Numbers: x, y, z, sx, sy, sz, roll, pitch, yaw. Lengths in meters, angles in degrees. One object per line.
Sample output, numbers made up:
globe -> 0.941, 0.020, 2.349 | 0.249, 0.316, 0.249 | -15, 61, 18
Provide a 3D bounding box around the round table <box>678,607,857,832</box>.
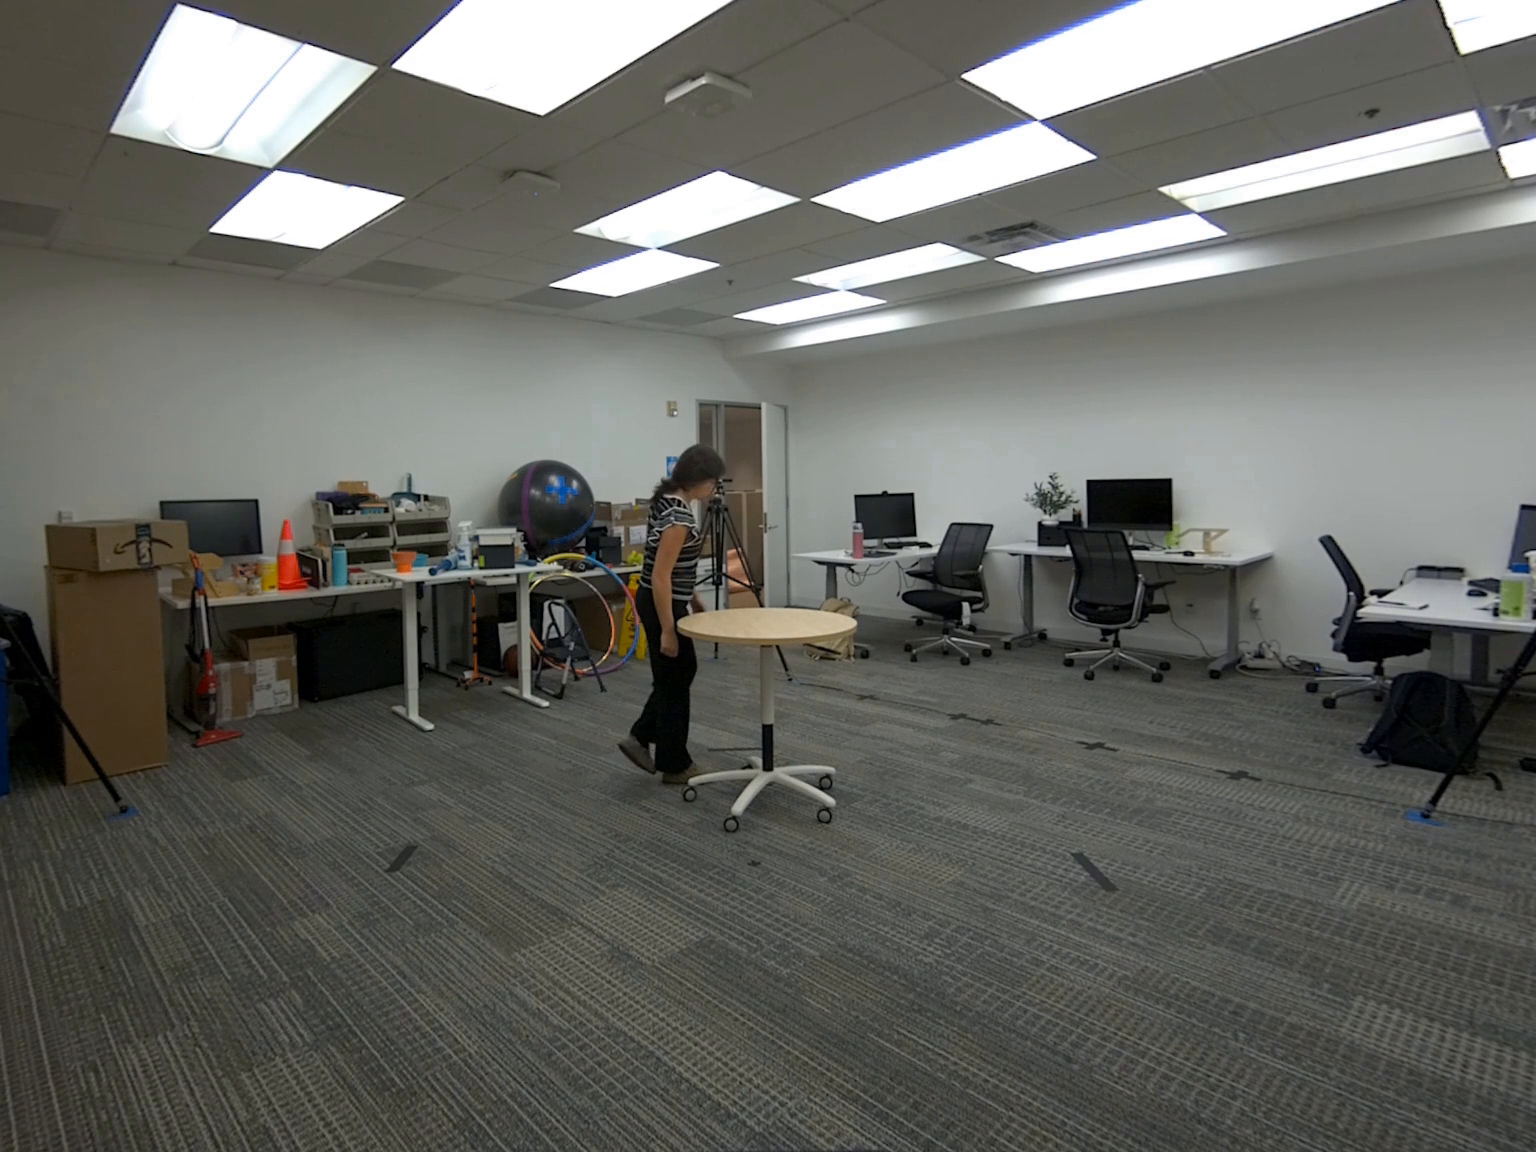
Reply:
round table -> -0.010, 0.590, 3.669 | 0.763, 0.791, 0.768 | -1, 5, -2
